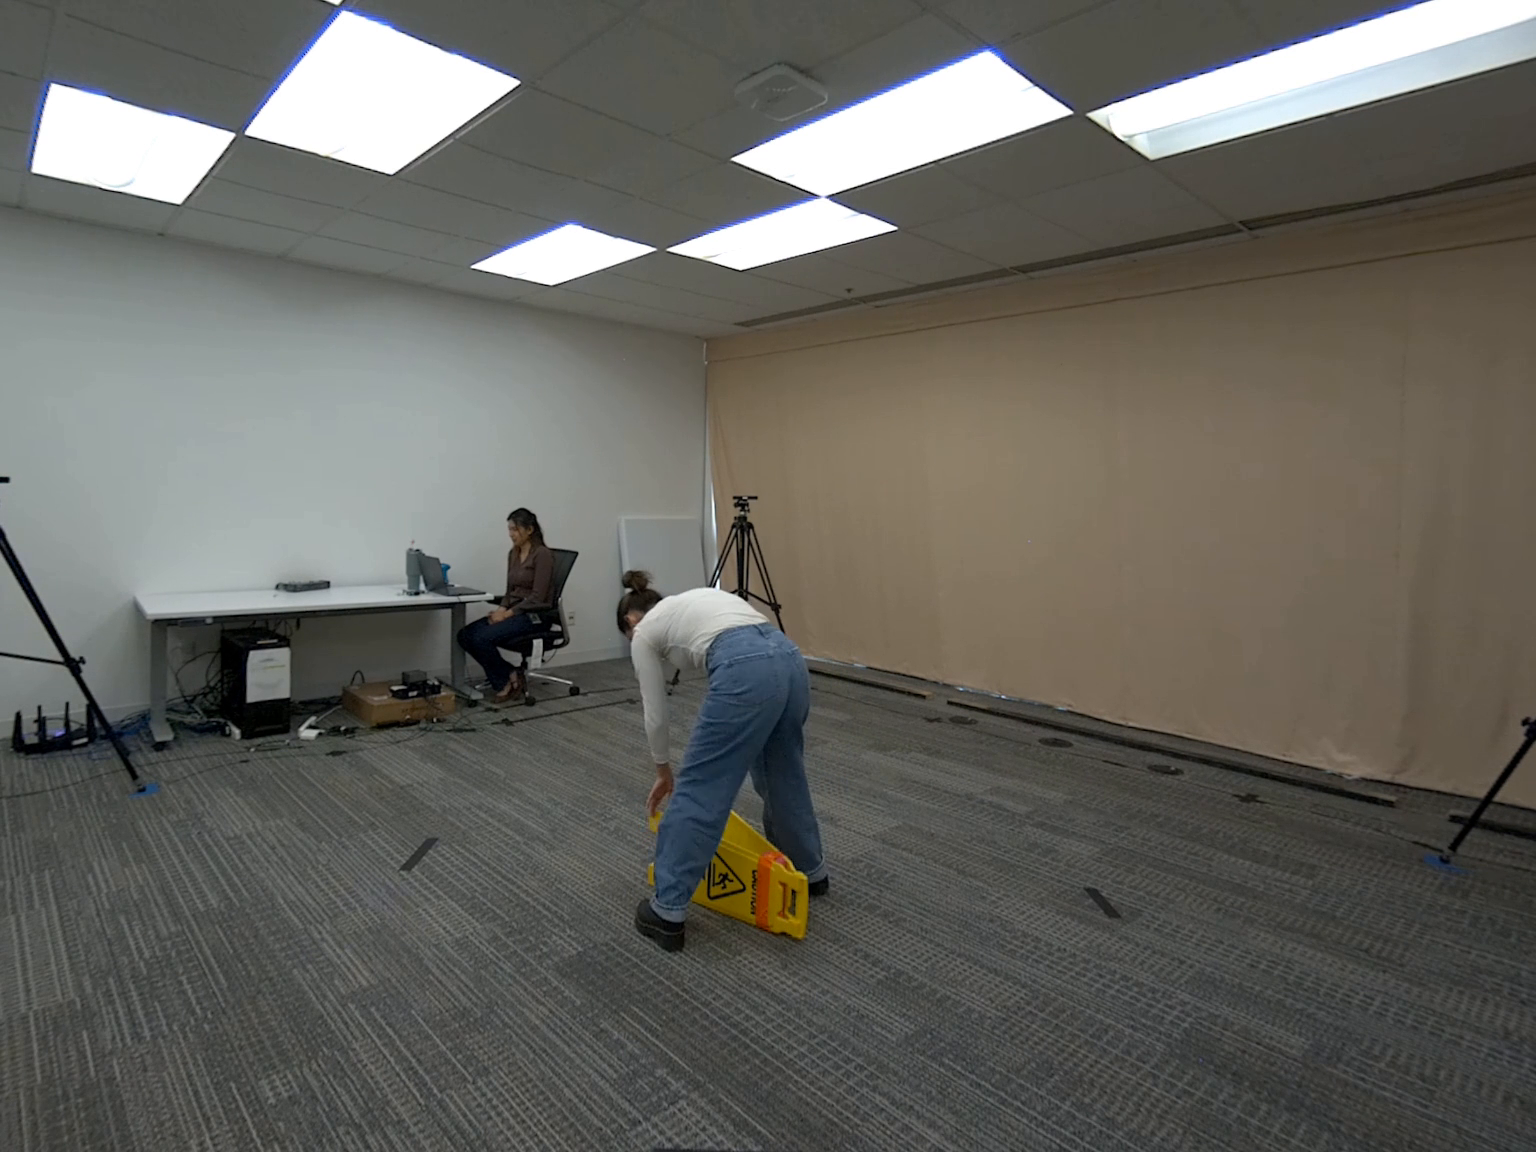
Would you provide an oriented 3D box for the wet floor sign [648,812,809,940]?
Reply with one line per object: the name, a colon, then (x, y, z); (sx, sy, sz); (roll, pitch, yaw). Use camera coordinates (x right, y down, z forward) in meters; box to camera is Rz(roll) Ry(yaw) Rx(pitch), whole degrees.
wet floor sign: (-0.109, 0.996, 2.854); (0.283, 0.281, 0.663); (-4, 9, -42)
